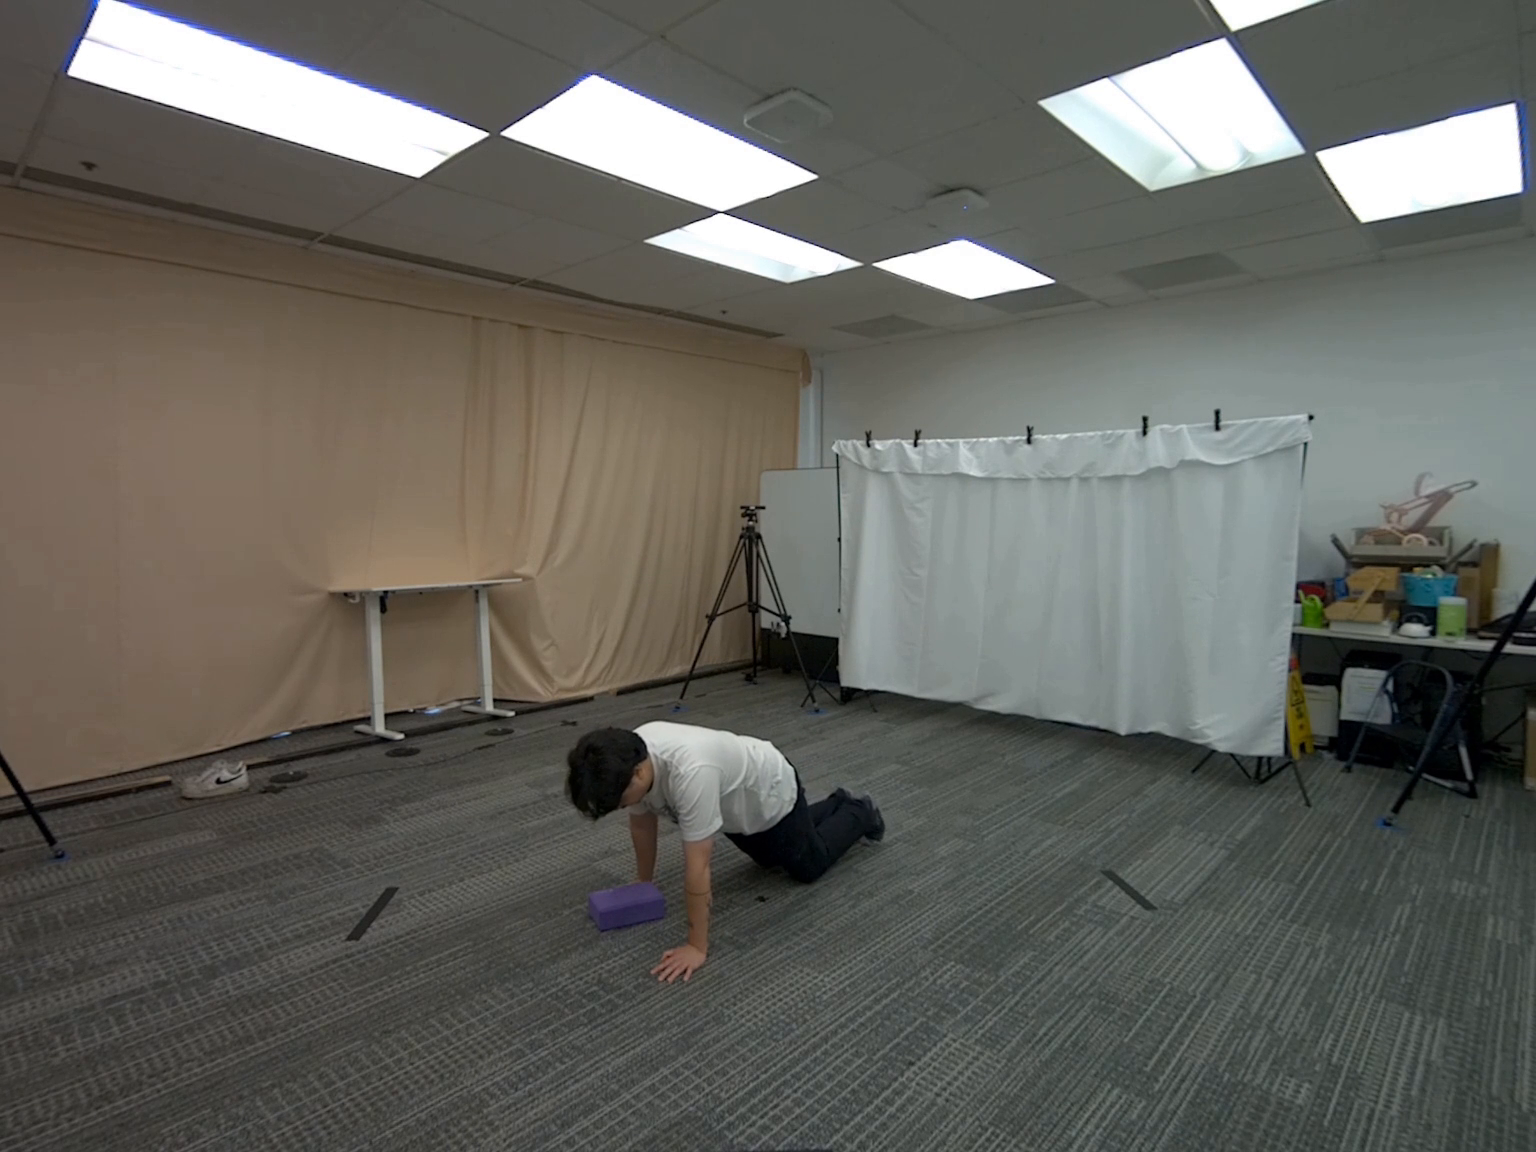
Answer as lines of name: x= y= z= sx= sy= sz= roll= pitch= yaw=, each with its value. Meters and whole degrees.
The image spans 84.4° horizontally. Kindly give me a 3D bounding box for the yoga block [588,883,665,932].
yoga block: x=-0.472 y=1.113 z=2.860 sx=0.224 sy=0.076 sz=0.153 roll=-3 pitch=5 yaw=-25
